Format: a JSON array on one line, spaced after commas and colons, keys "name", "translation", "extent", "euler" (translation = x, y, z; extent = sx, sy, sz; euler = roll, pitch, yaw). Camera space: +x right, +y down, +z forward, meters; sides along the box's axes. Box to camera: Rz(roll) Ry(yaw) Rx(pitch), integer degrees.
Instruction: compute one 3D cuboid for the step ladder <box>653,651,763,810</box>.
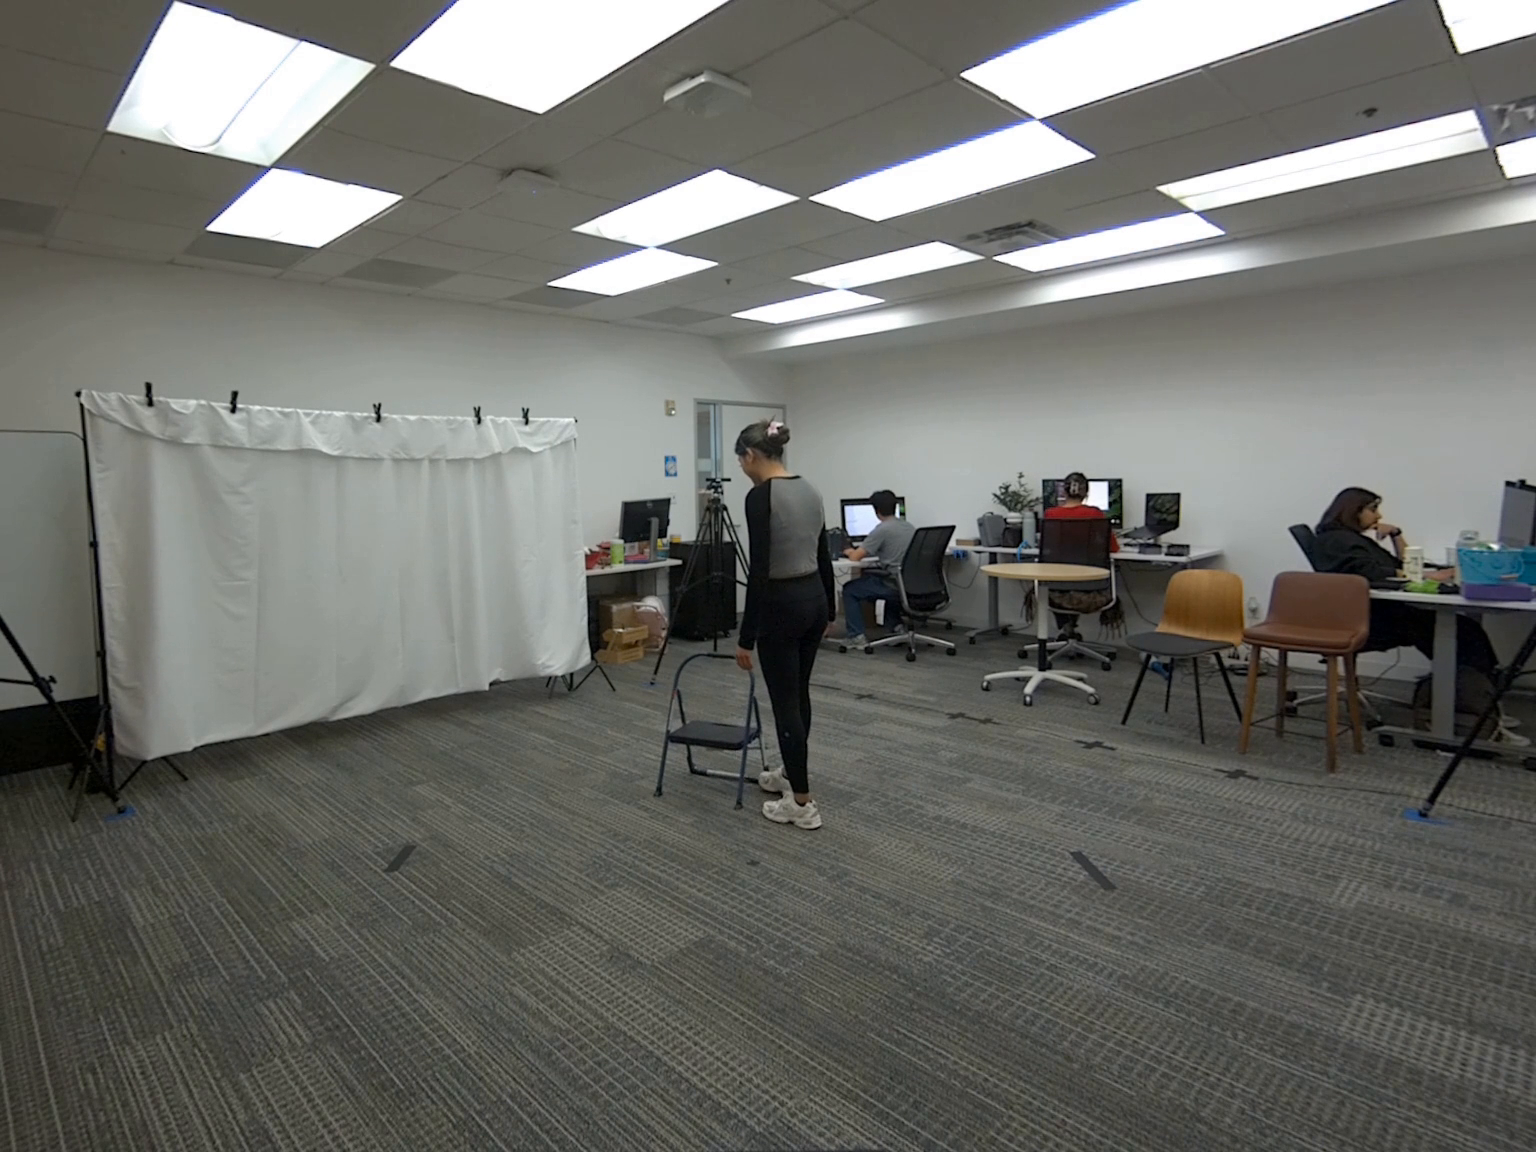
[{"name": "step ladder", "translation": [-0.251, 0.663, 3.830], "extent": [0.441, 0.604, 0.342], "euler": [1, 4, 26]}]
